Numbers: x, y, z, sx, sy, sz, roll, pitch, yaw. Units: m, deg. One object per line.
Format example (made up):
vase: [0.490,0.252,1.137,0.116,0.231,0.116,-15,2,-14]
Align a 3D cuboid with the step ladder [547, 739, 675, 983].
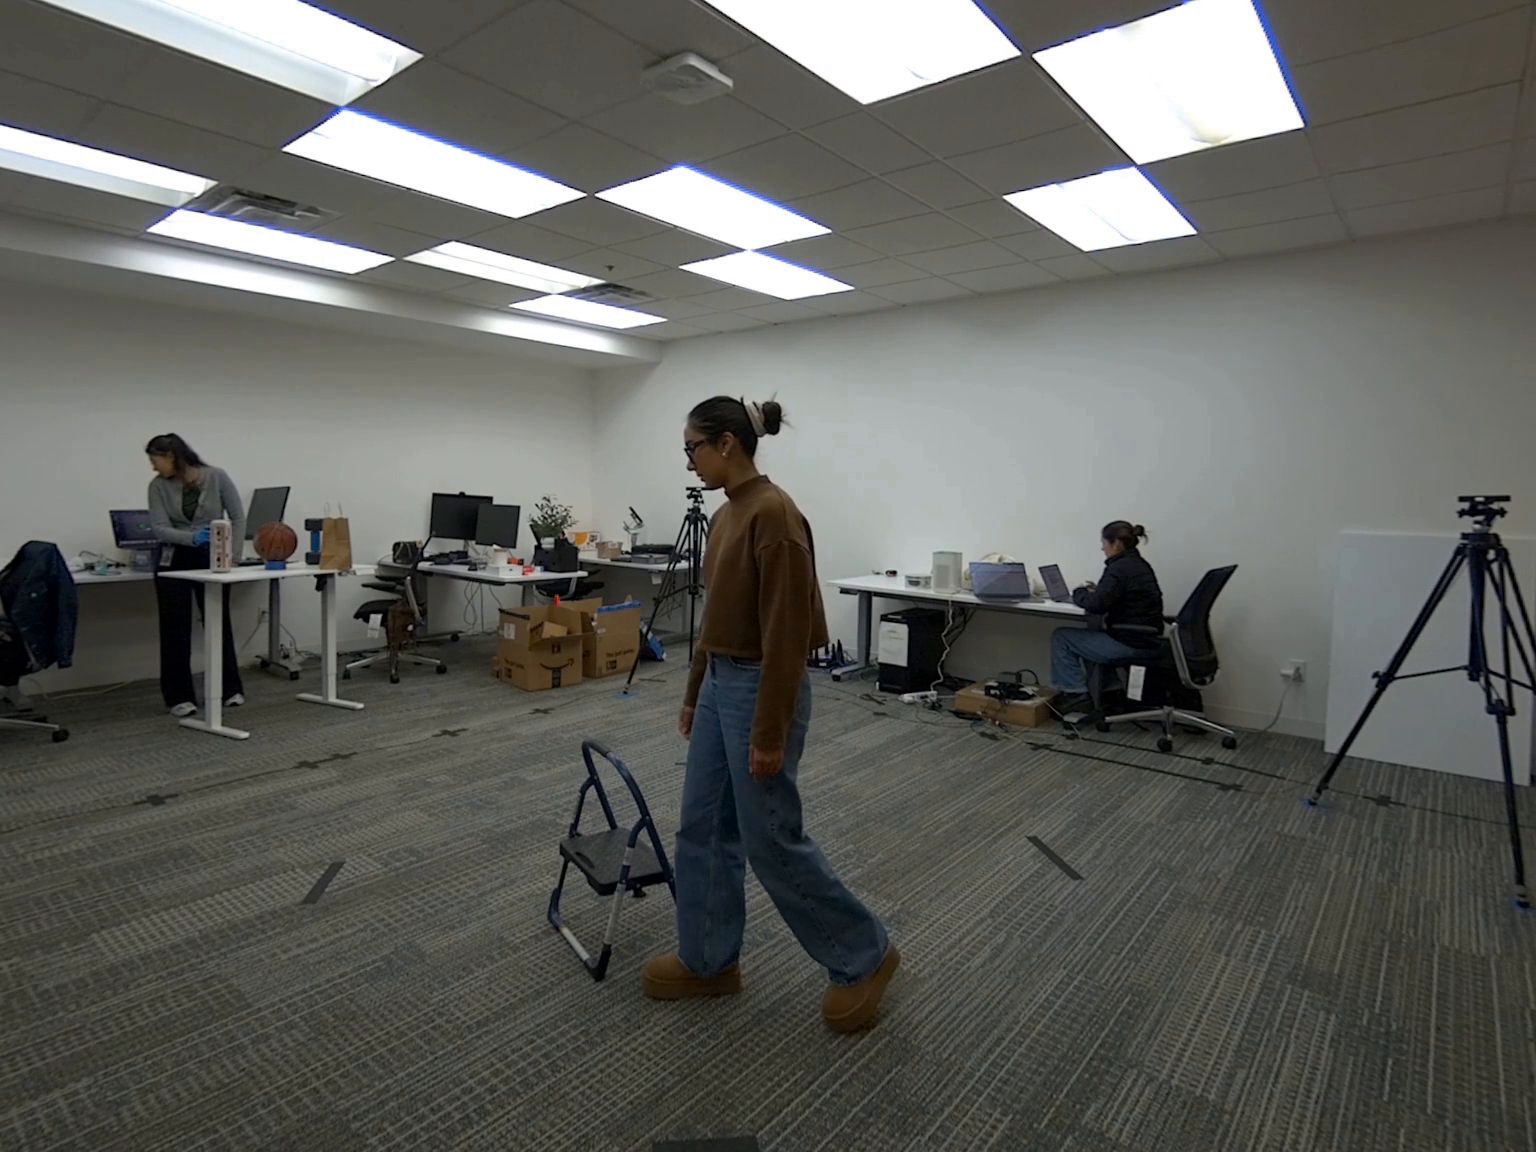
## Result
step ladder: [-0.461,0.806,2.623,0.339,0.604,0.444,-2,5,-34]
